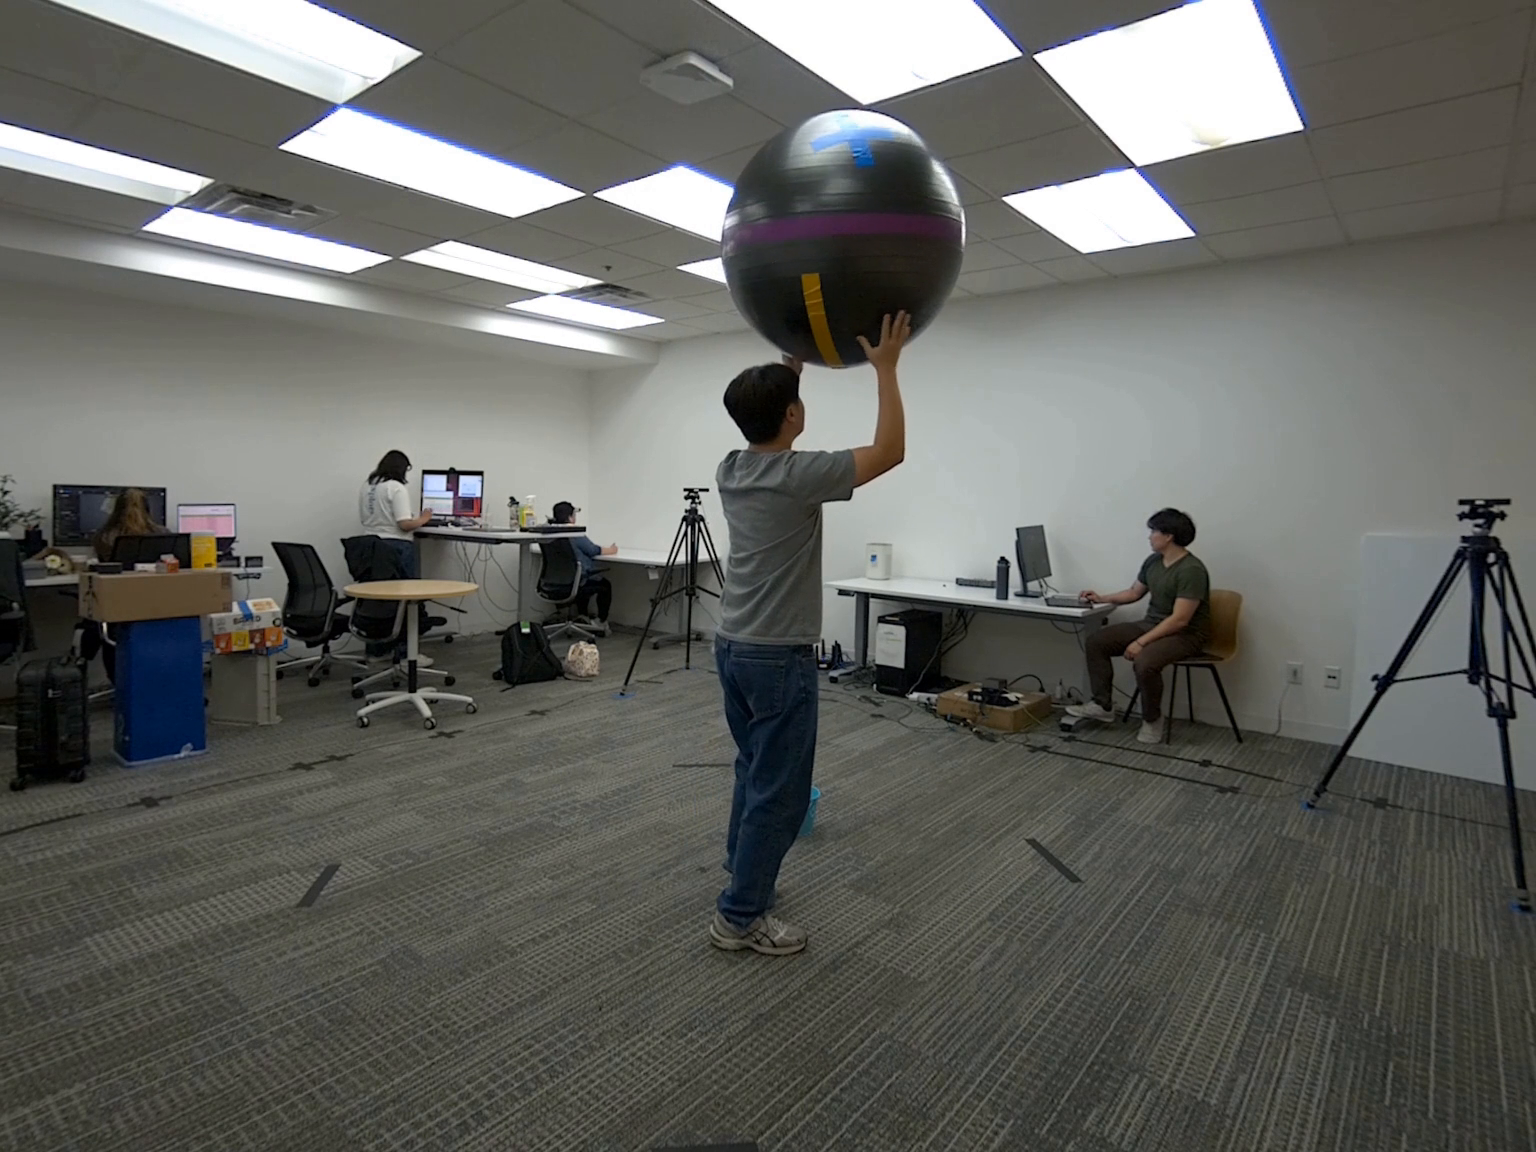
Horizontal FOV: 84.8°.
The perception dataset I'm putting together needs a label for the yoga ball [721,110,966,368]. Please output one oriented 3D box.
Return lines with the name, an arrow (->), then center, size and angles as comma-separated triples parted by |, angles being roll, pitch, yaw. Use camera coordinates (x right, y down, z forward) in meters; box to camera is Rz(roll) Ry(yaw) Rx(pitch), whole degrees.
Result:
yoga ball -> 0.224, -1.038, 2.677 | 0.757, 0.756, 0.761 | 1, 4, -2
